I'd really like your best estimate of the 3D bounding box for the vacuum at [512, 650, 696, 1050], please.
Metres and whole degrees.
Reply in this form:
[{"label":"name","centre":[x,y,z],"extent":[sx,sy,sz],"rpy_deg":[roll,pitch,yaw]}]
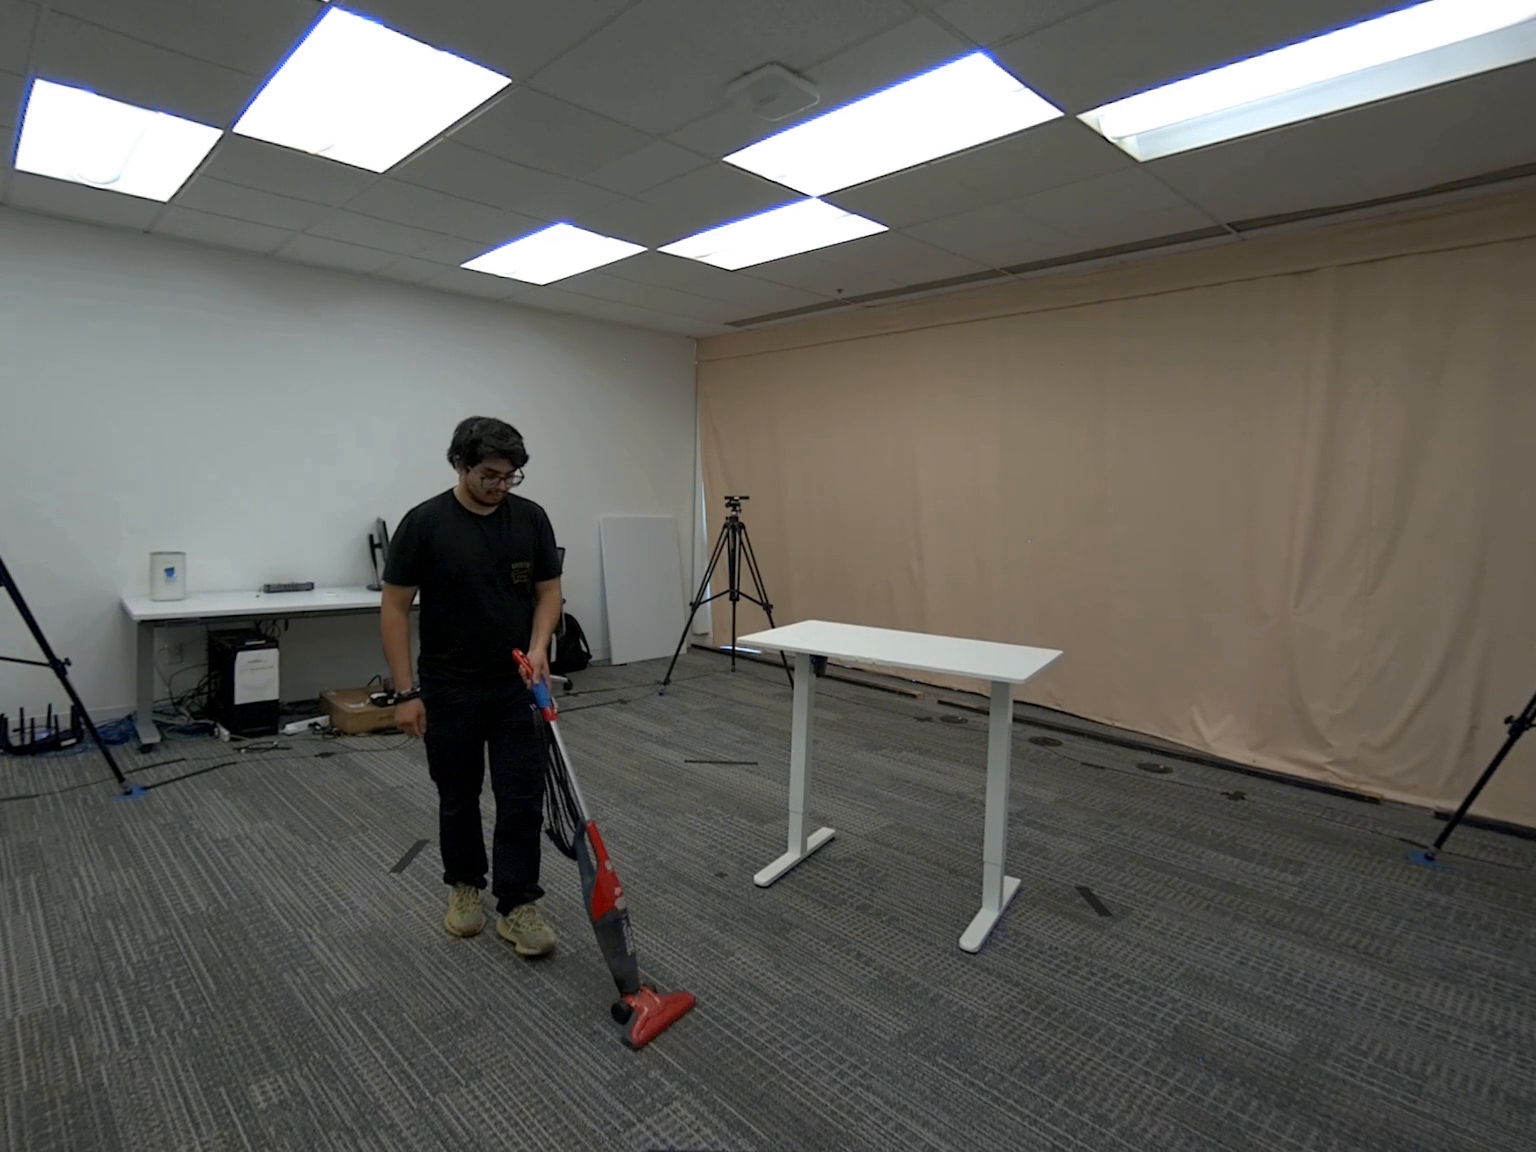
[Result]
[{"label":"vacuum","centre":[-0.535,0.721,2.367],"extent":[0.145,1.064,0.247],"rpy_deg":[-34,-16,30]}]
